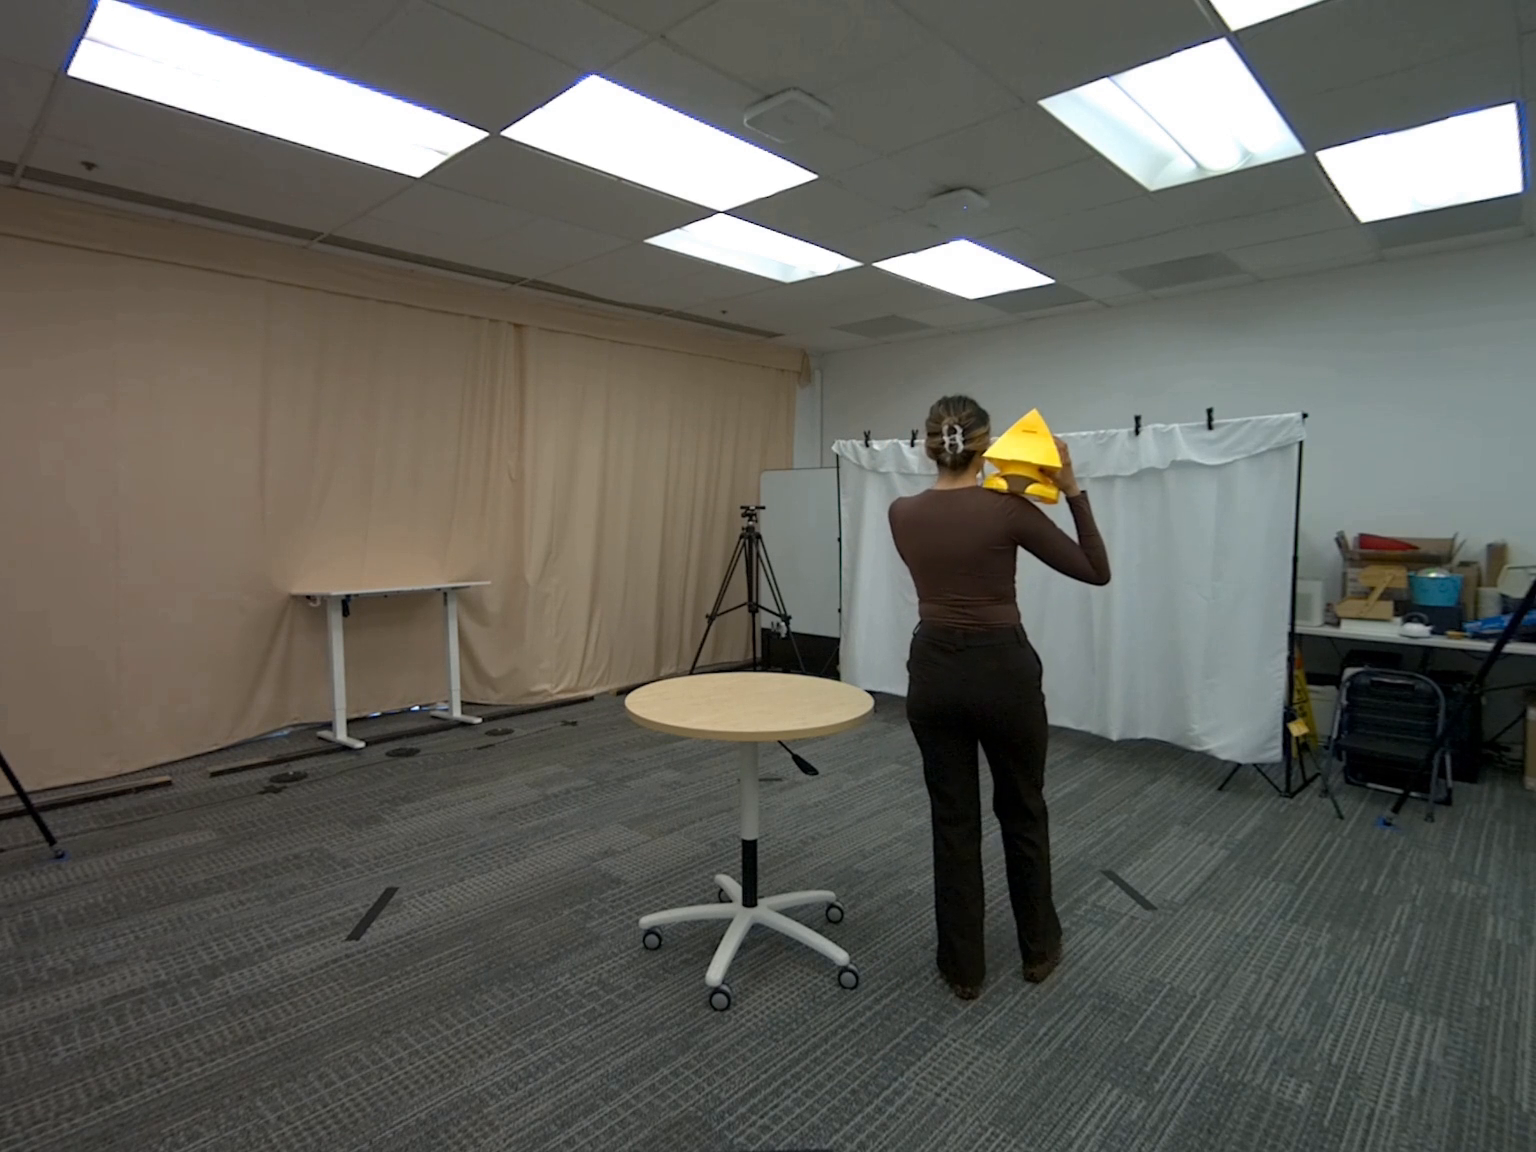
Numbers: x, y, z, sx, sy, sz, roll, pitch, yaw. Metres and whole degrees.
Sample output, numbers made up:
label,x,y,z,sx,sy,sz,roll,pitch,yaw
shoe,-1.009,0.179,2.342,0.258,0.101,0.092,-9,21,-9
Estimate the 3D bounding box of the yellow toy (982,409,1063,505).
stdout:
label,x,y,z,sx,sy,sz,roll,pitch,yaw
yellow toy,0.731,-0.334,2.312,0.211,0.230,0.187,14,1,26
